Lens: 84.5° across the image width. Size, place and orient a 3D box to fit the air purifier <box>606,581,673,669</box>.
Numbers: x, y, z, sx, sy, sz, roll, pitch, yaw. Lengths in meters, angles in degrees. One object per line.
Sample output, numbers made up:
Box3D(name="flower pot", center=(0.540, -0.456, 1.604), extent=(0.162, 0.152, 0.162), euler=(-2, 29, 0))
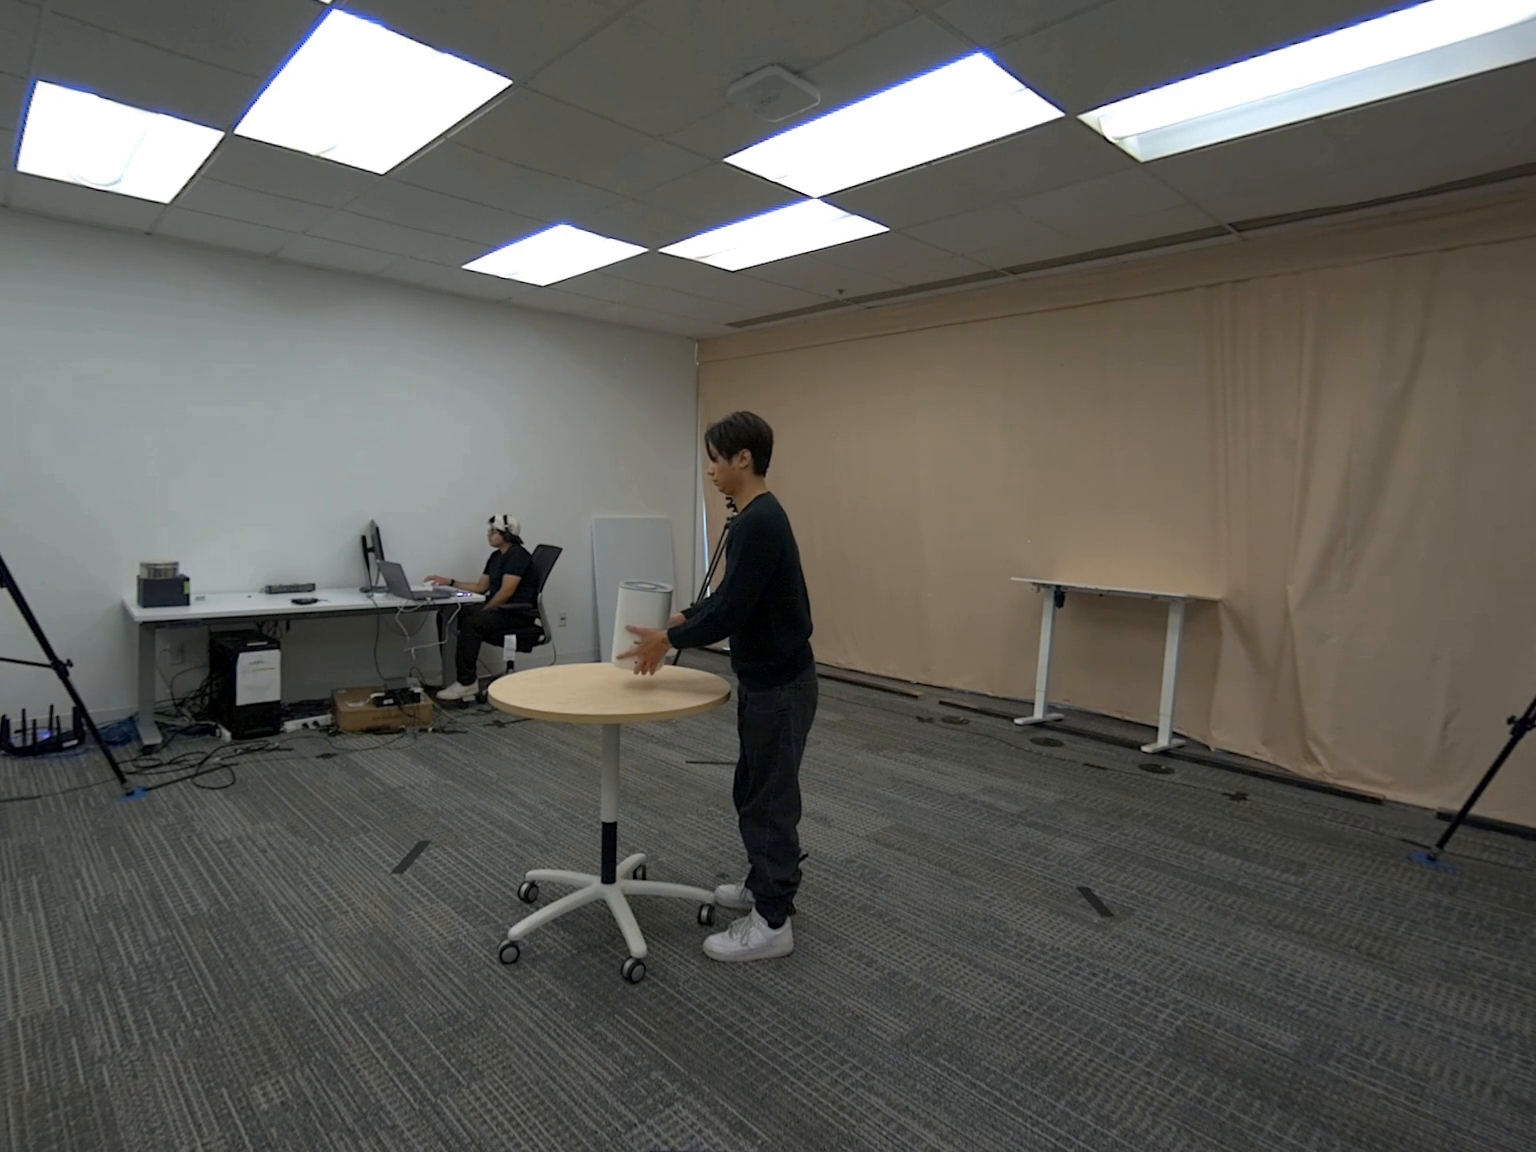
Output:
Box3D(name="air purifier", center=(-0.414, 0.150, 2.705), extent=(0.171, 0.264, 0.172), euler=(7, 9, 0))
